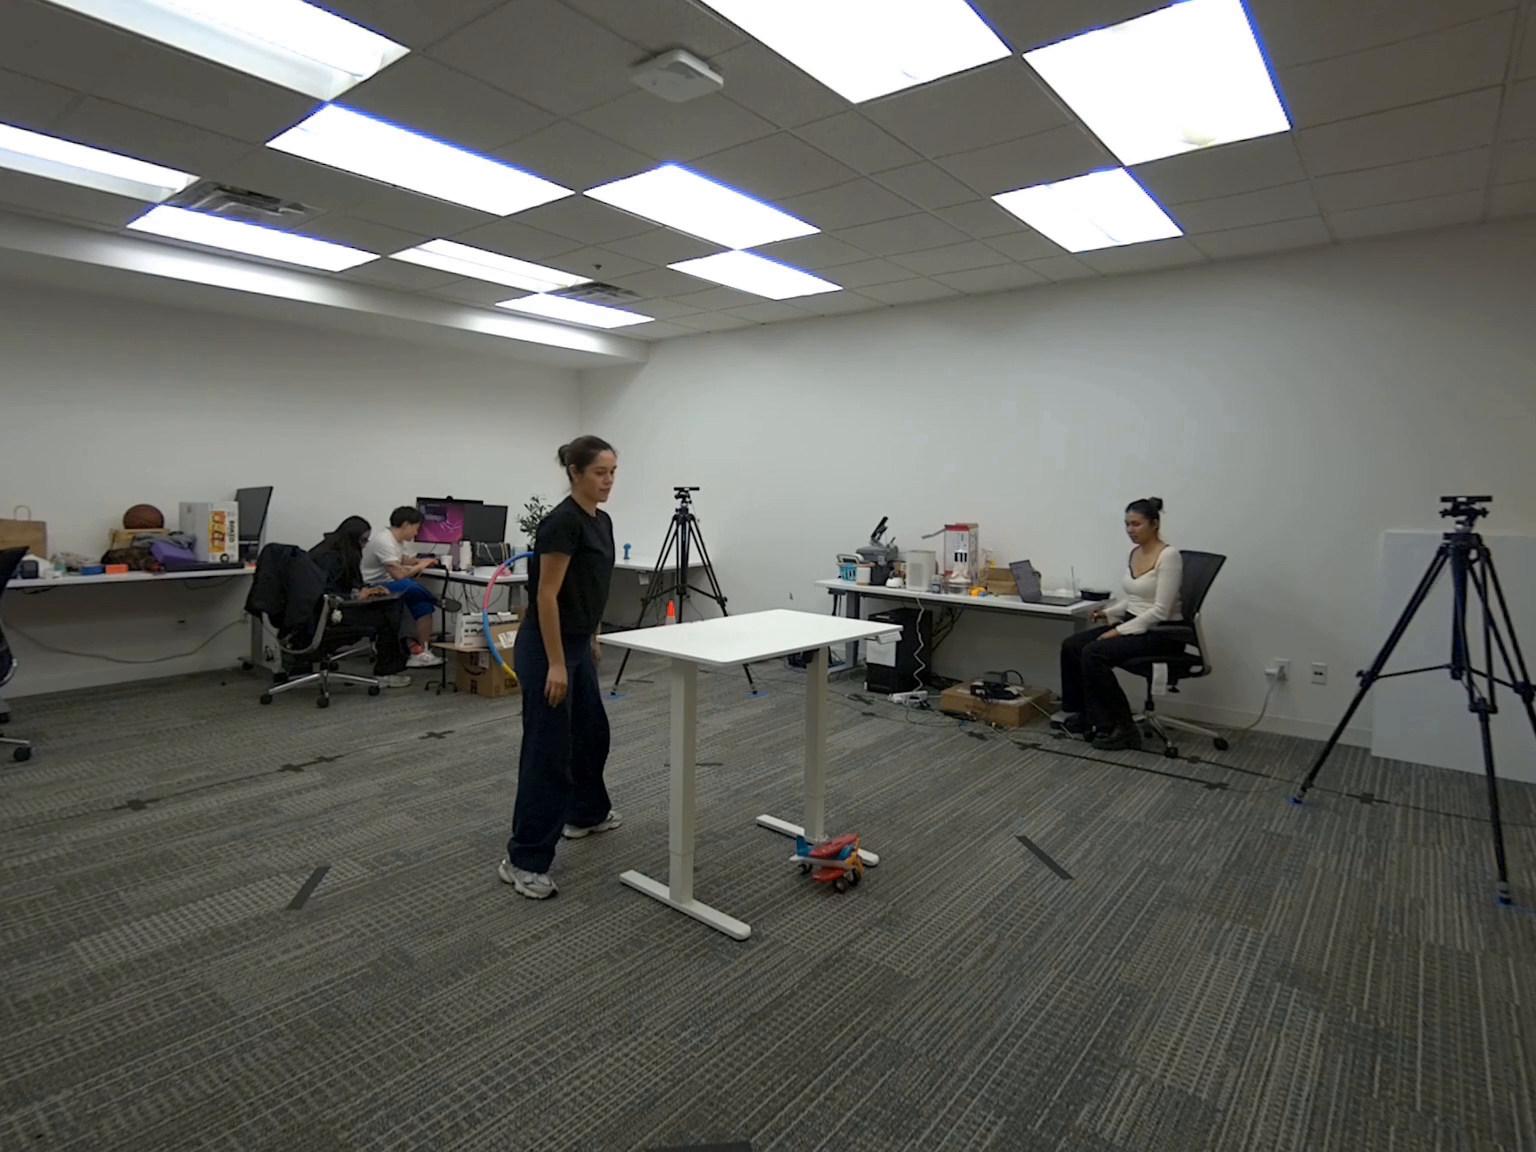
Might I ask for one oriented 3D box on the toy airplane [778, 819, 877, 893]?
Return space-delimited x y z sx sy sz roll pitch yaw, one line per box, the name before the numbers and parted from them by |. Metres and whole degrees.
toy airplane | 0.219 1.009 3.029 0.263 0.156 0.248 4 4 11
